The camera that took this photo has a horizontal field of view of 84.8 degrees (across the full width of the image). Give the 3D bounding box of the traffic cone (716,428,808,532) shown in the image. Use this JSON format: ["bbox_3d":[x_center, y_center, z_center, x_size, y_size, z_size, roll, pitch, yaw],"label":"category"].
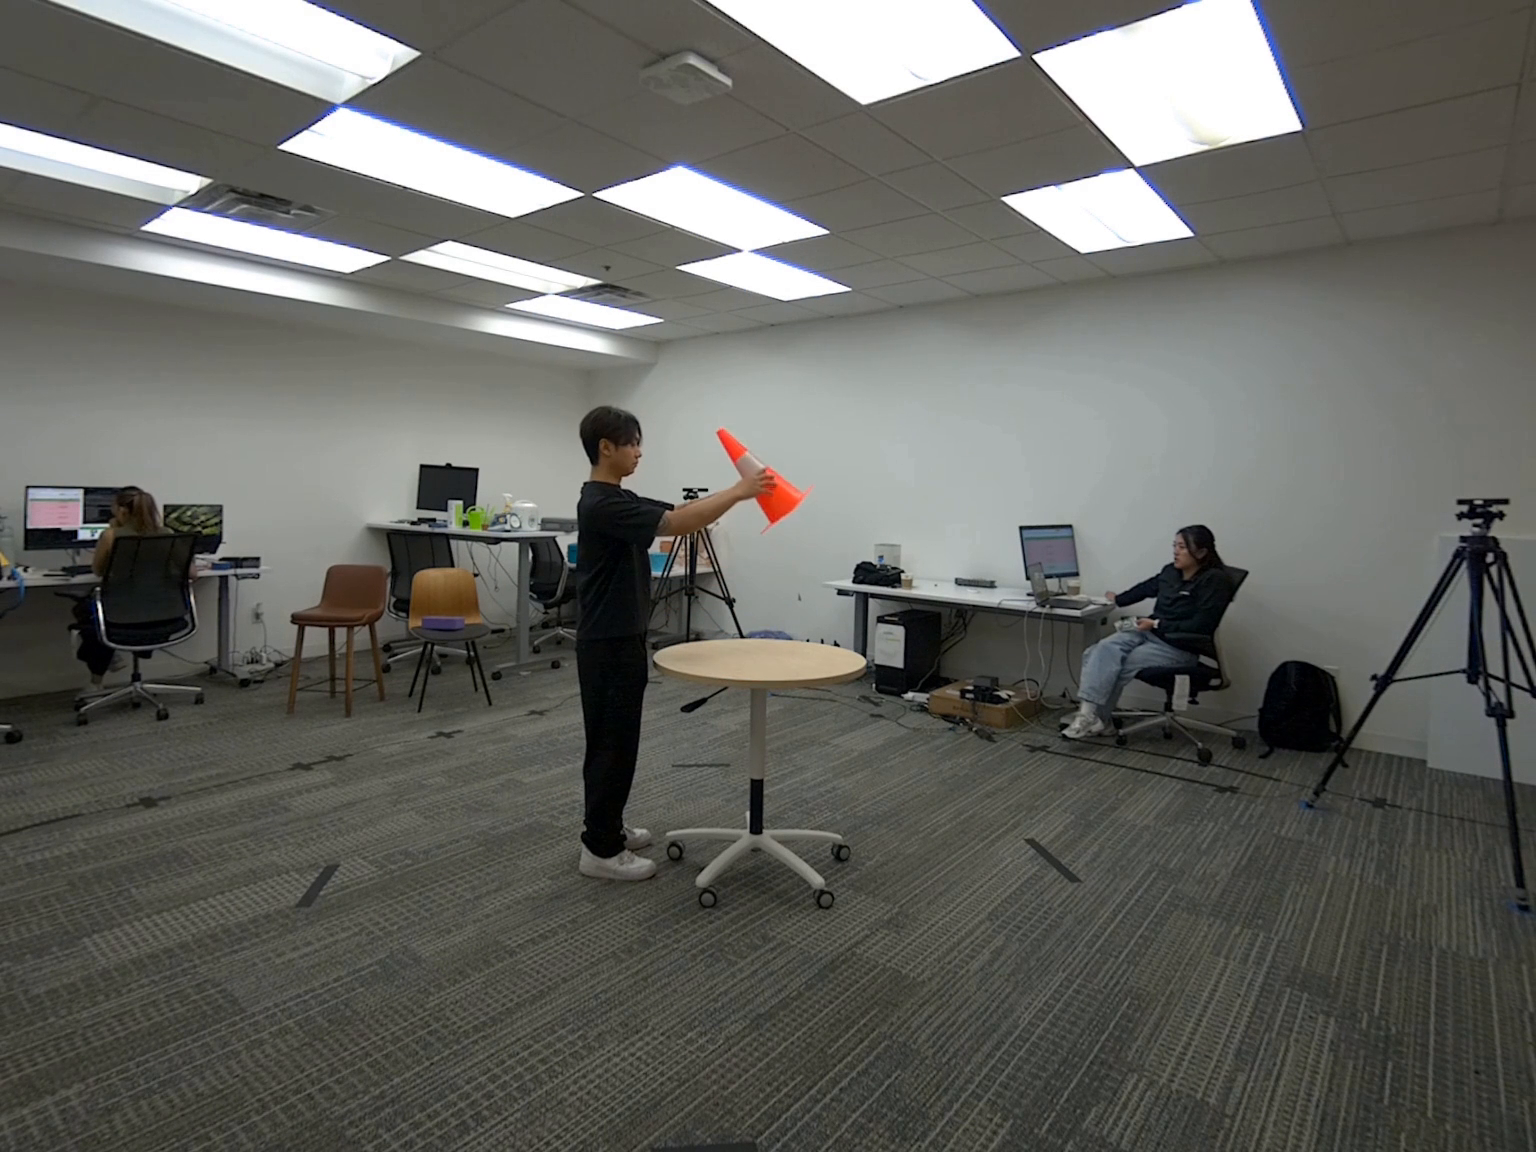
[{"bbox_3d":[-0.071,-0.375,3.060,0.206,0.381,0.203,-38,6,40],"label":"traffic cone"}]
